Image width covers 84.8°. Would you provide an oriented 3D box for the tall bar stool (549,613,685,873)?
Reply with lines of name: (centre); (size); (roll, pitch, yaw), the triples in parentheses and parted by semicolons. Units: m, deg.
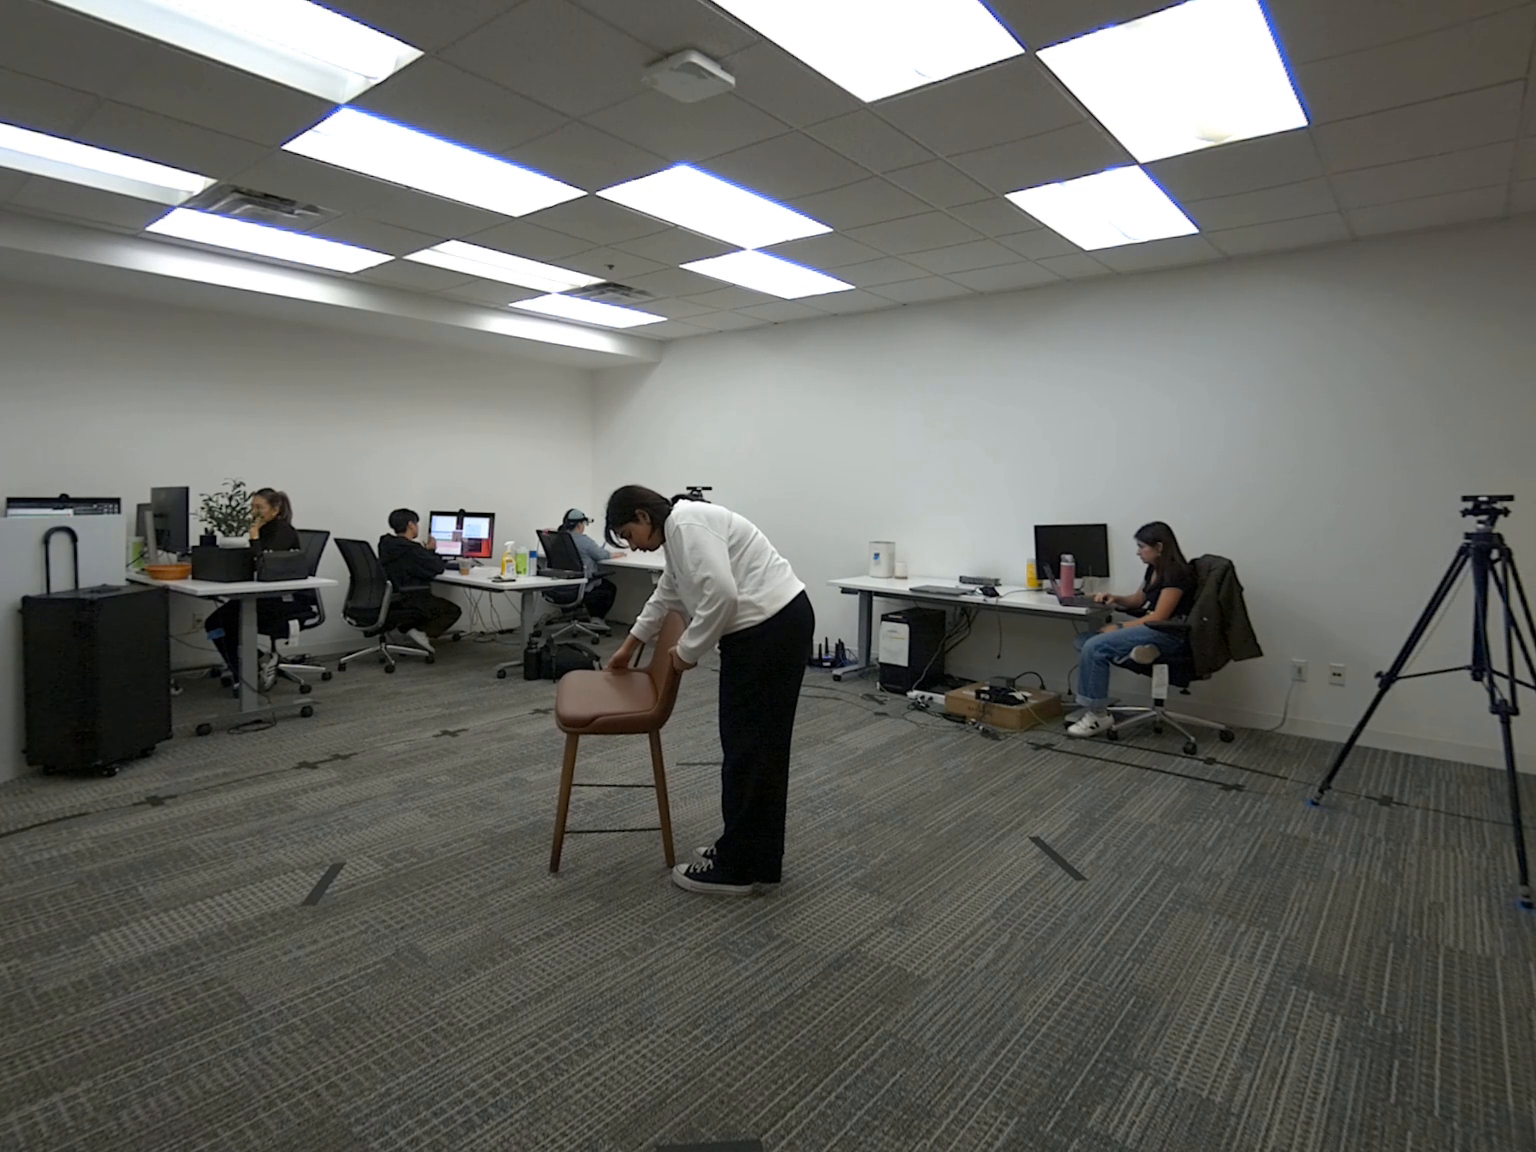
tall bar stool: (-0.569, 0.594, 3.180); (0.462, 0.880, 0.467); (3, 13, -11)
